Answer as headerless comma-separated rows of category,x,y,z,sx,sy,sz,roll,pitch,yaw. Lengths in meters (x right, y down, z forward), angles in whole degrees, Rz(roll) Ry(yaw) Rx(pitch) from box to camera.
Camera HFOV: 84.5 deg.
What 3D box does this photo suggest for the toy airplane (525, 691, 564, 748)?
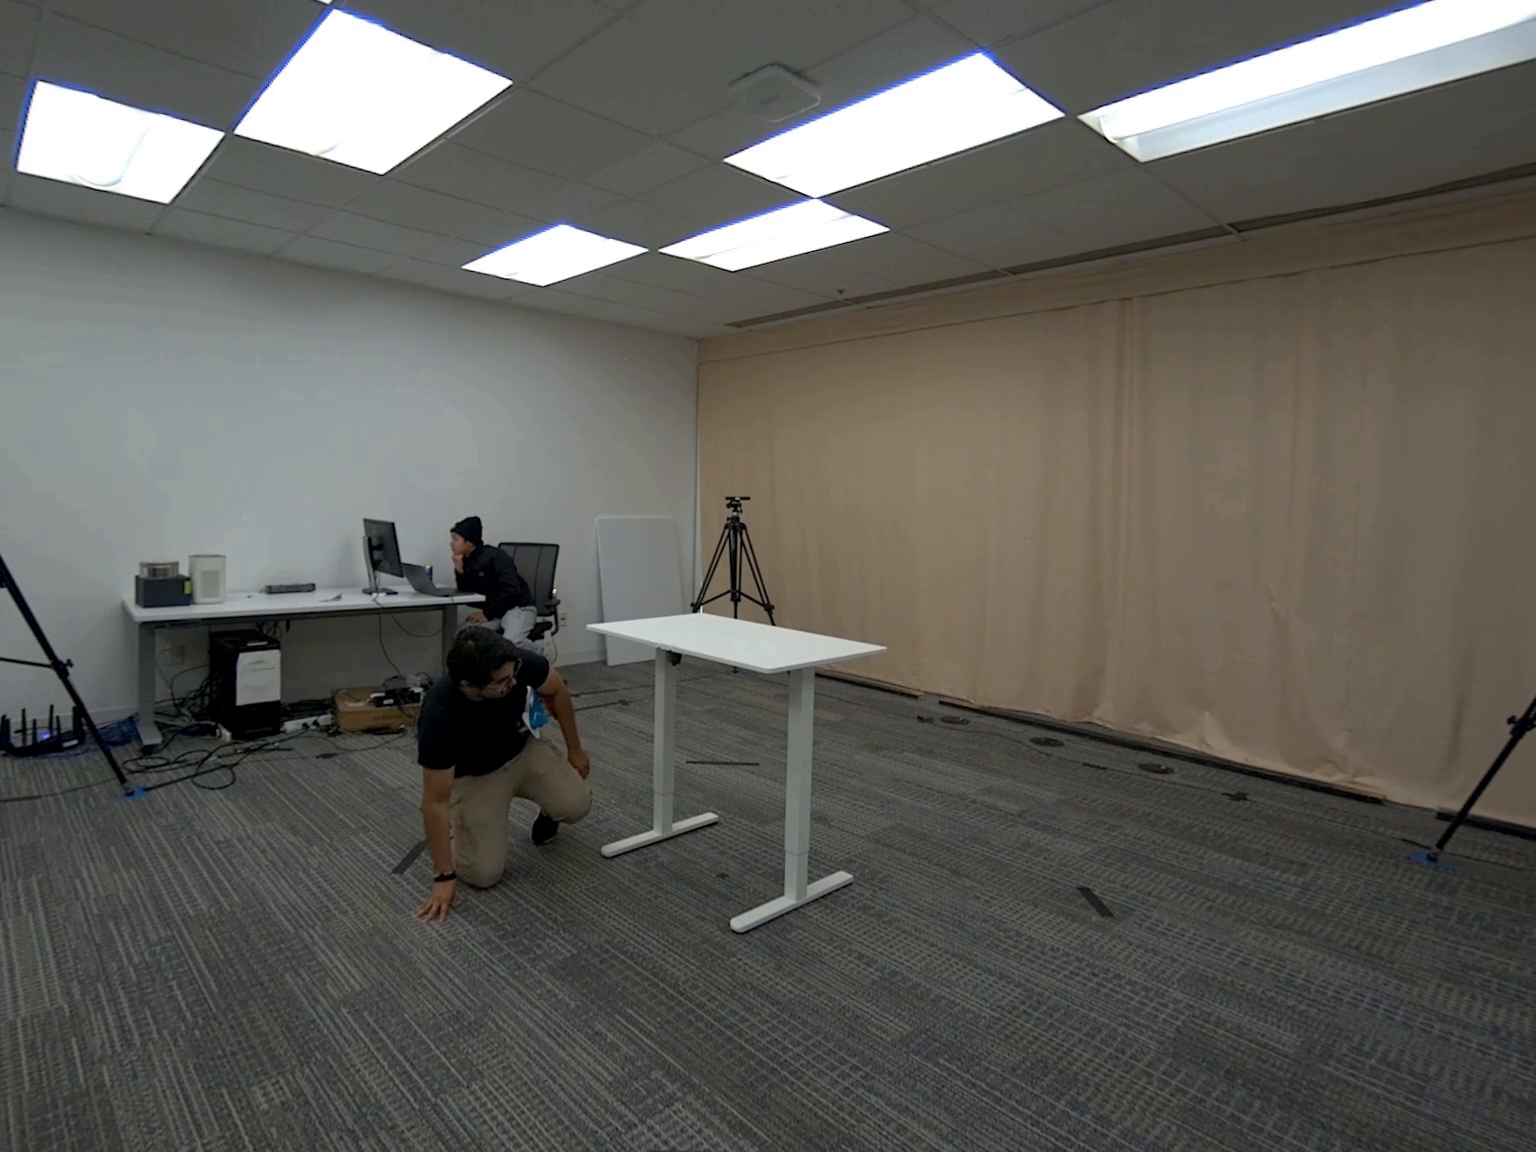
toy airplane,-0.876,0.495,3.188,0.156,0.267,0.244,-29,-32,-6
